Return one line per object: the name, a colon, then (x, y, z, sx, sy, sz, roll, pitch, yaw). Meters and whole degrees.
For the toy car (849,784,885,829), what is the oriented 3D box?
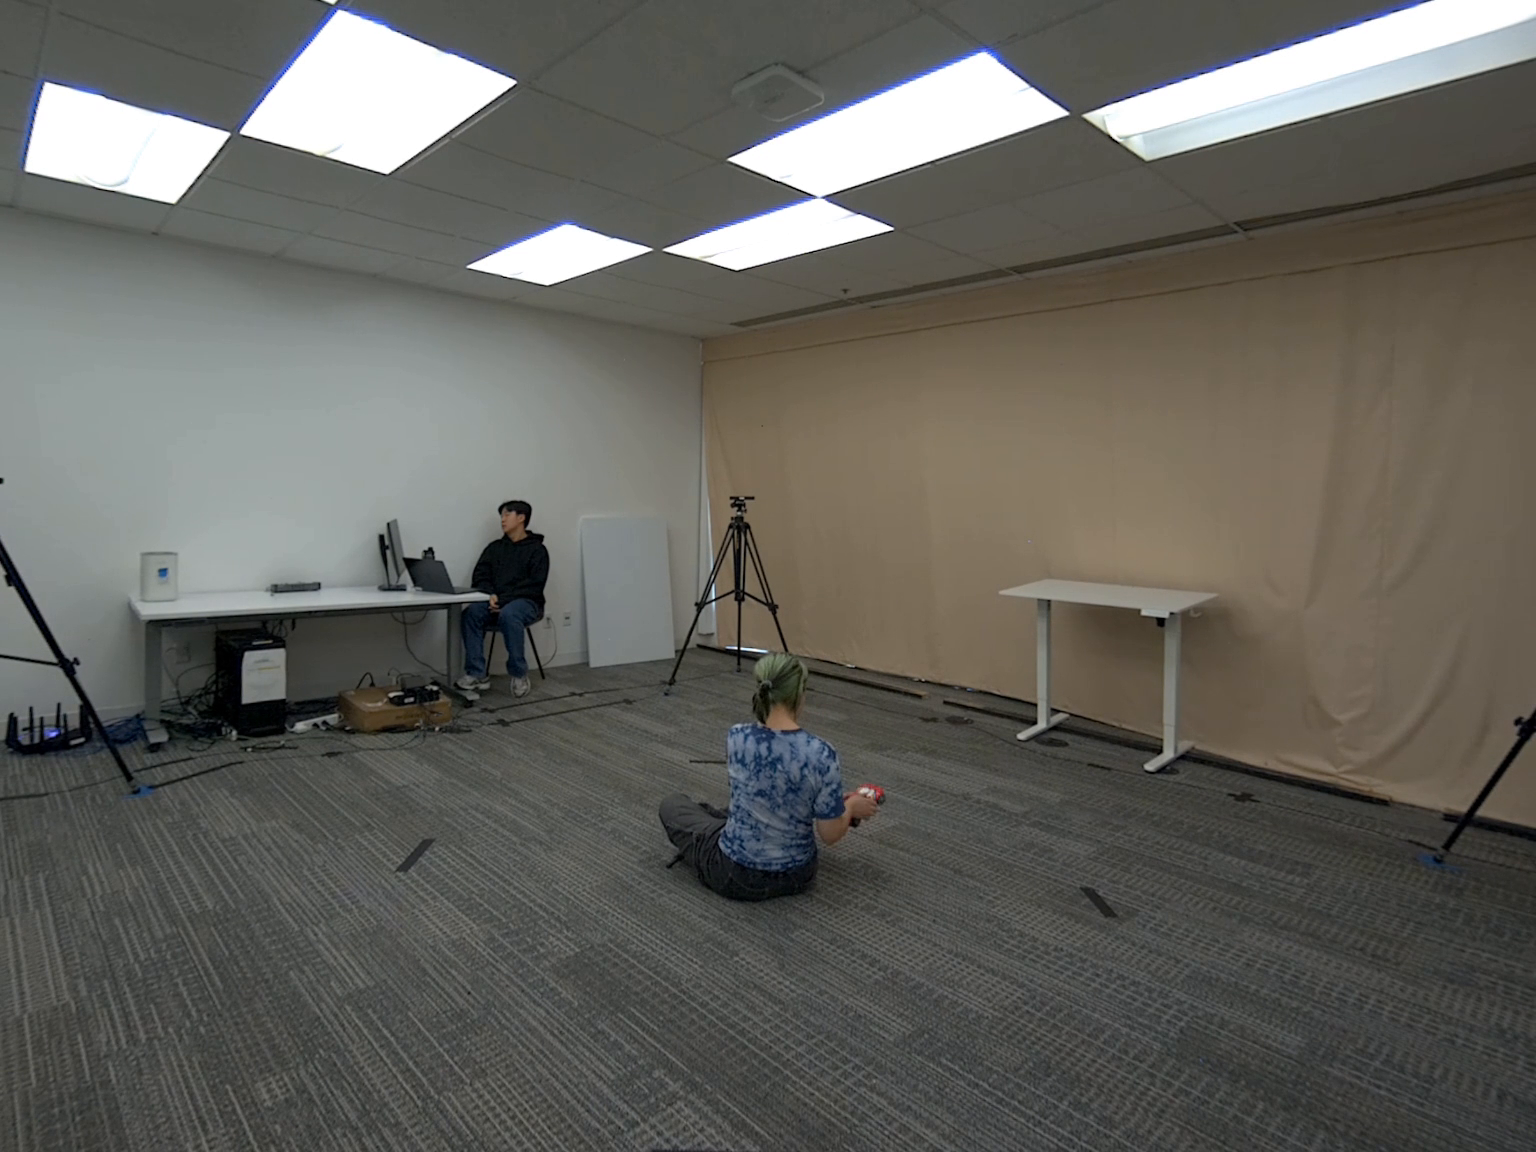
toy car: (0.316, 0.889, 3.195, 0.251, 0.082, 0.133, -20, 17, -34)
